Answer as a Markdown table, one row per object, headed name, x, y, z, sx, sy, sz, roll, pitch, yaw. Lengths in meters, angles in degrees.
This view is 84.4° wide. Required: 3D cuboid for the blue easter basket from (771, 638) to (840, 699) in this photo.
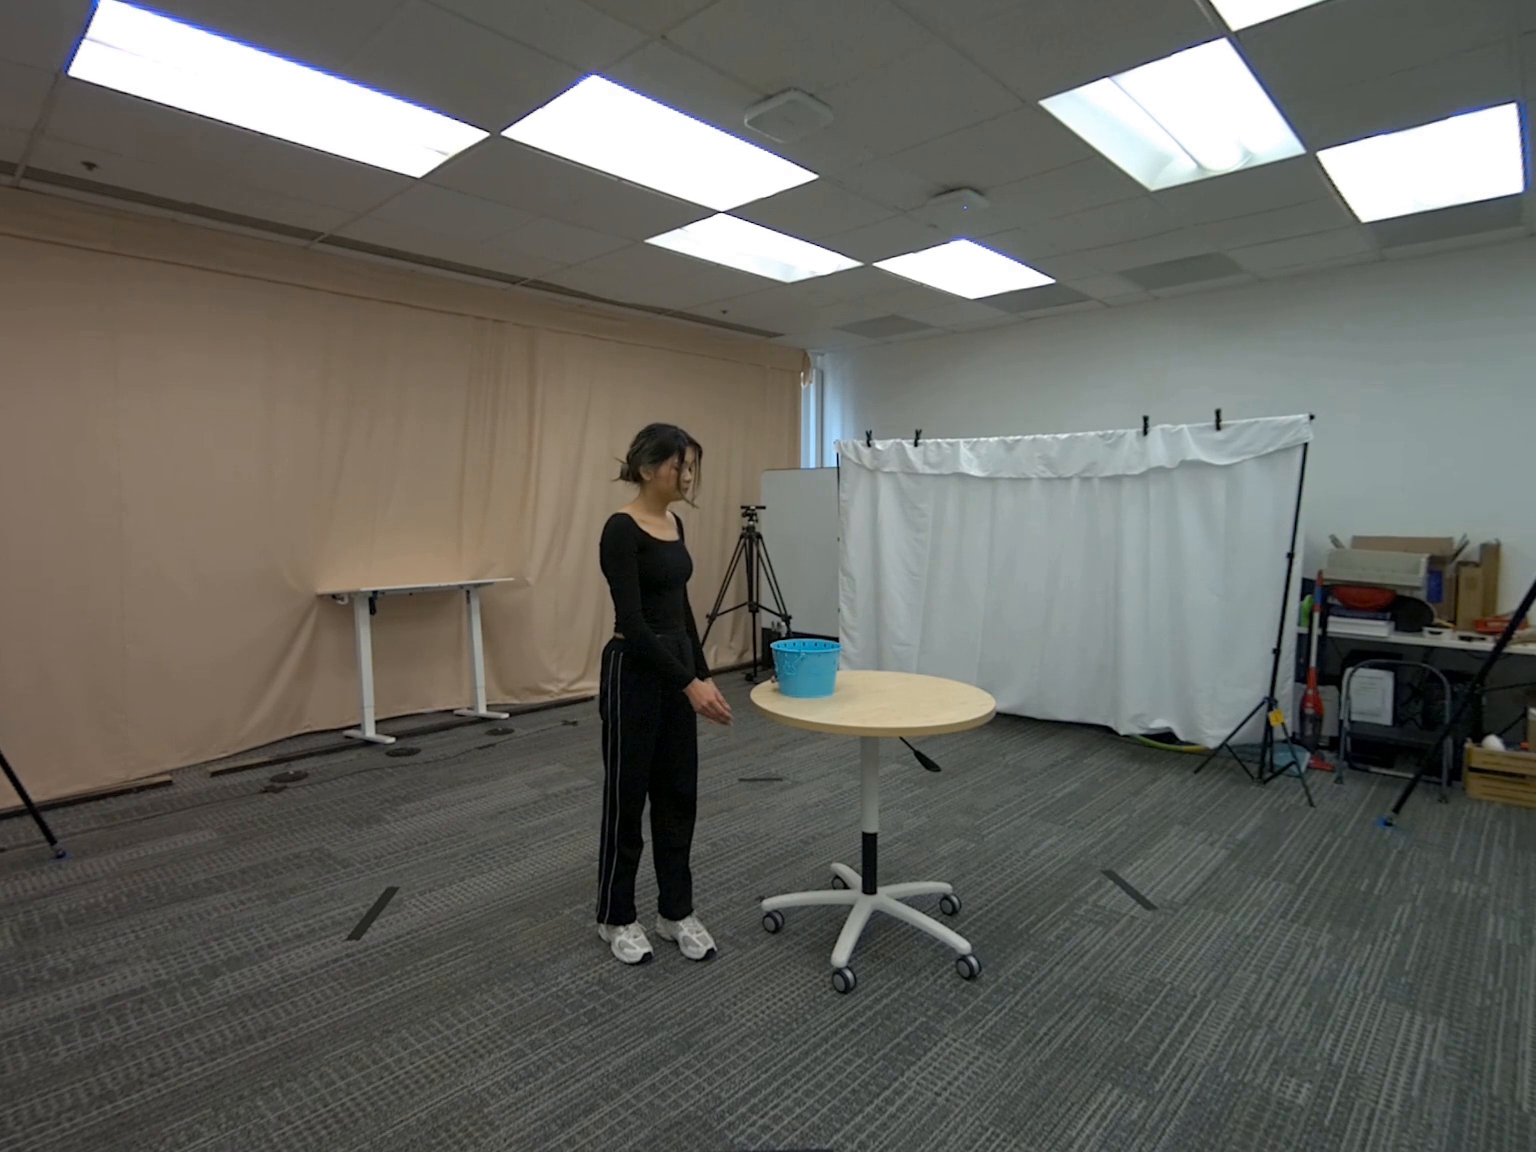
| name | x | y | z | sx | sy | sz | roll | pitch | yaw |
| --- | --- | --- | --- | --- | --- | --- | --- | --- | --- |
| blue easter basket | 0.124 | 0.302 | 2.739 | 0.243 | 0.155 | 0.245 | 0 | 6 | -2 |
